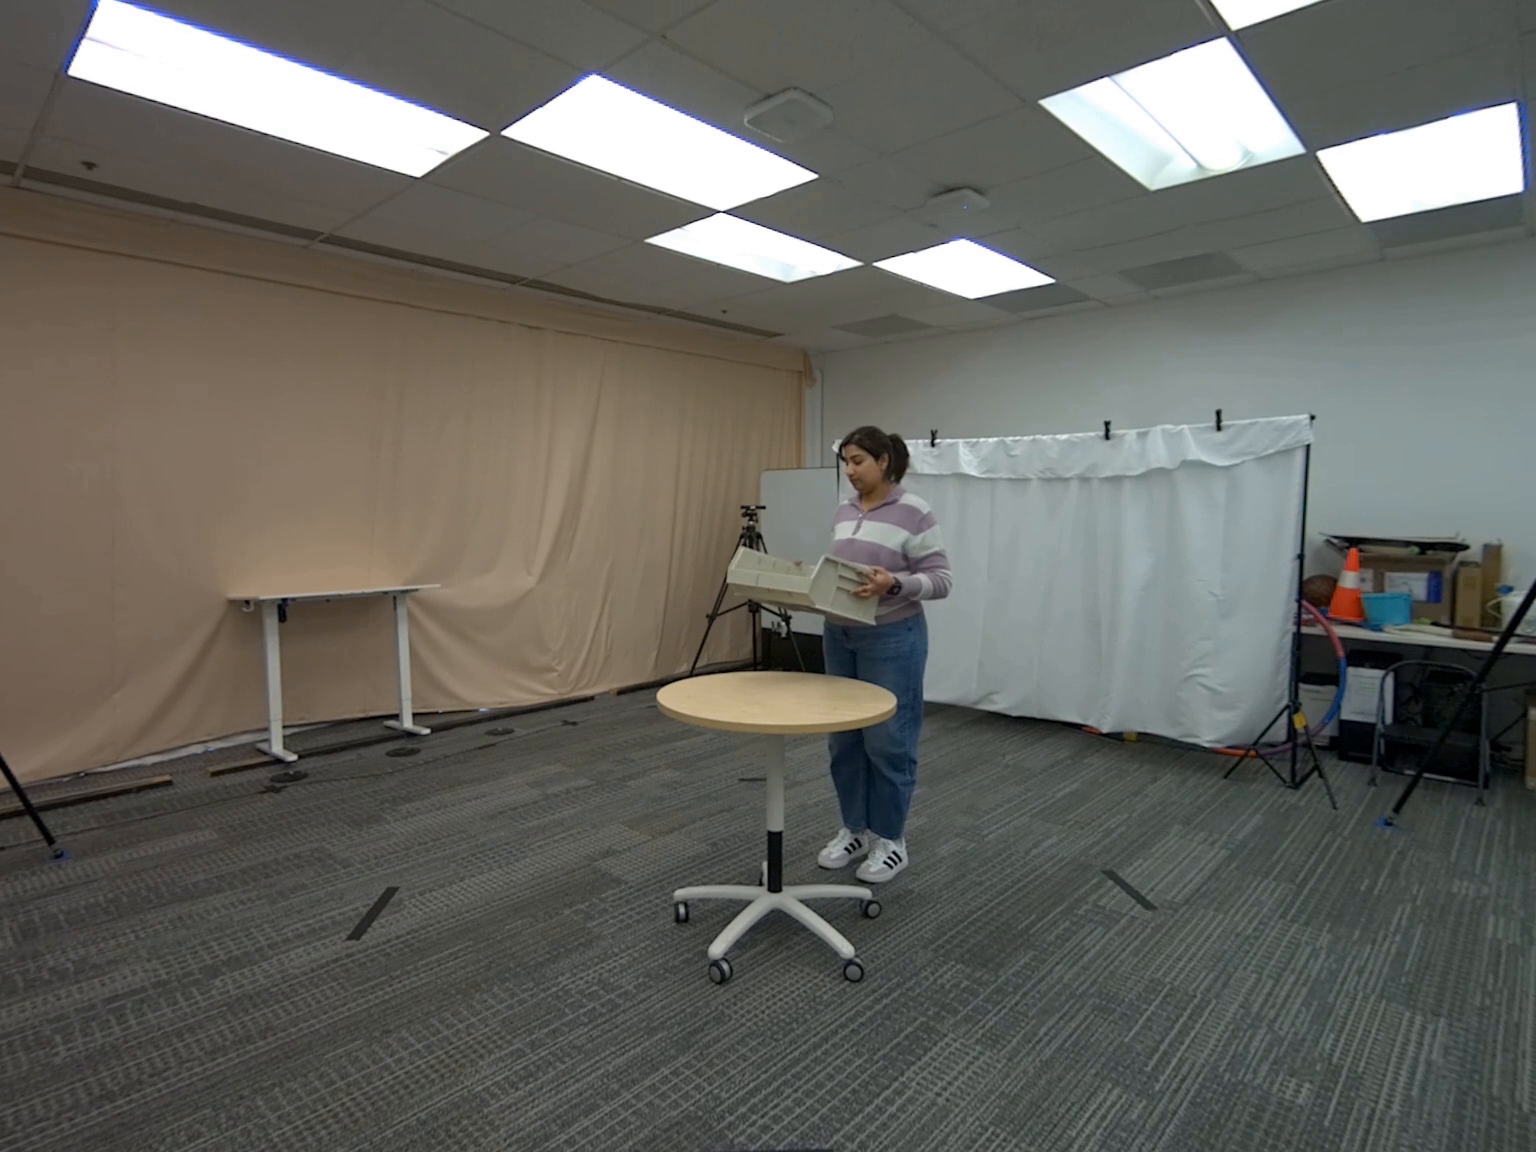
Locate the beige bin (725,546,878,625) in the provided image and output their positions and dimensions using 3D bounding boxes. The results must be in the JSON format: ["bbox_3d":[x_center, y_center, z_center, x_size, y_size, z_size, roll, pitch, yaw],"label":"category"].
[{"bbox_3d":[0.134,0.035,2.975,0.364,0.189,0.436,18,-8,-41],"label":"beige bin"}]
